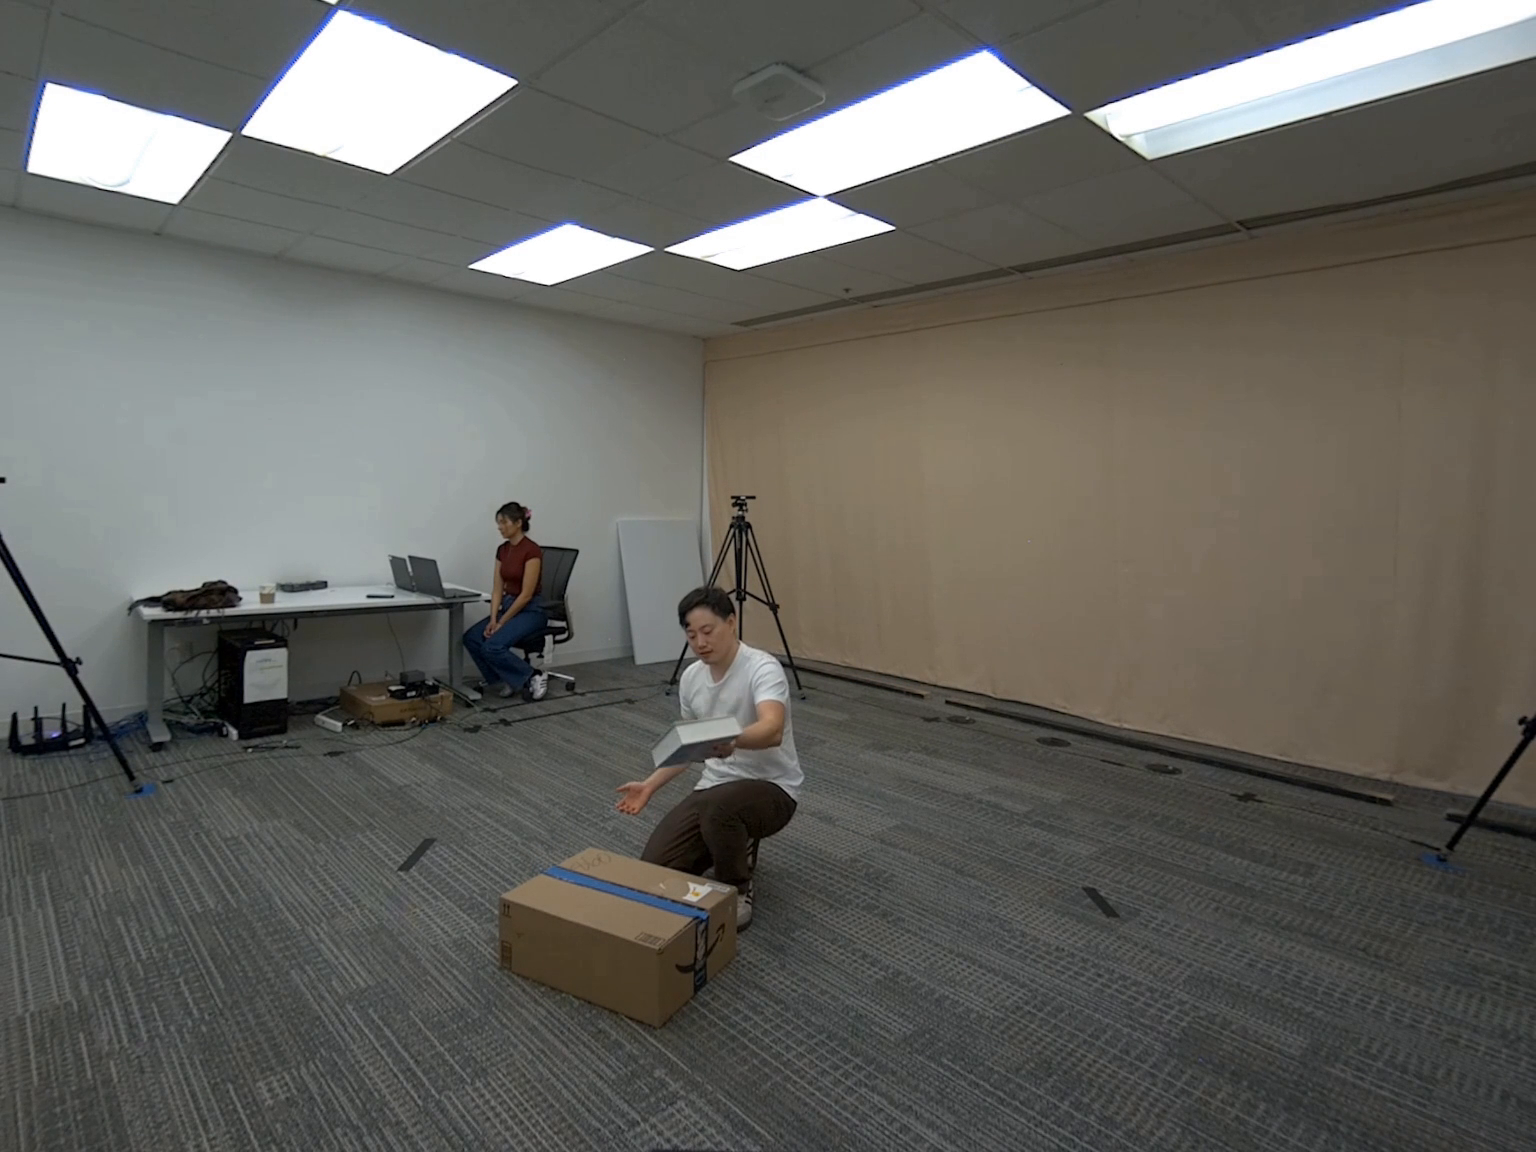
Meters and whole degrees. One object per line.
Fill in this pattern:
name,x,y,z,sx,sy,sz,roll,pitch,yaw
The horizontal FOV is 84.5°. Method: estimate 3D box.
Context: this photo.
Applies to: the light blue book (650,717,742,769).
light blue book,-0.229,0.479,2.401,0.188,0.060,0.260,-4,-26,-26
